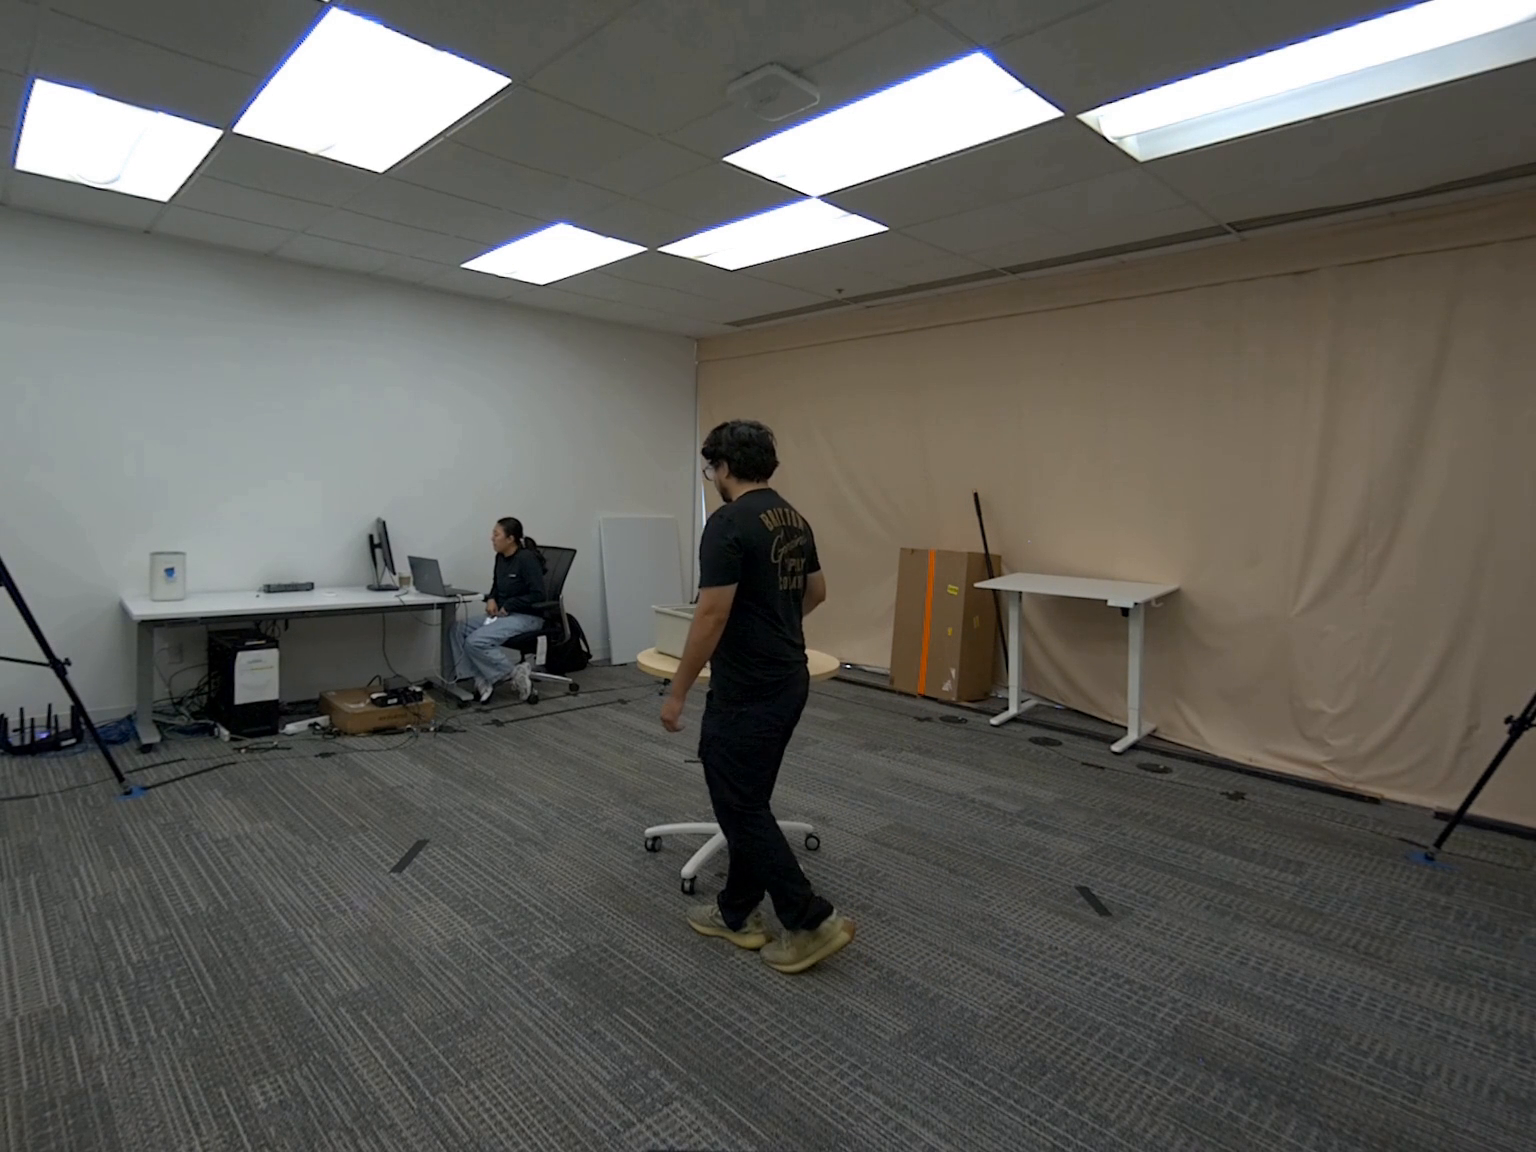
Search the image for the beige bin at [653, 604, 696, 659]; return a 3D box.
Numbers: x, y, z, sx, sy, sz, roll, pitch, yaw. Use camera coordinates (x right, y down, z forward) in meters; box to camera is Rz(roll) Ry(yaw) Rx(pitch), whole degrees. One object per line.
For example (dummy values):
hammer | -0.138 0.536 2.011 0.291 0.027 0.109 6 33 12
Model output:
beige bin | -0.184 0.224 3.201 0.369 0.188 0.433 -4 7 -37
